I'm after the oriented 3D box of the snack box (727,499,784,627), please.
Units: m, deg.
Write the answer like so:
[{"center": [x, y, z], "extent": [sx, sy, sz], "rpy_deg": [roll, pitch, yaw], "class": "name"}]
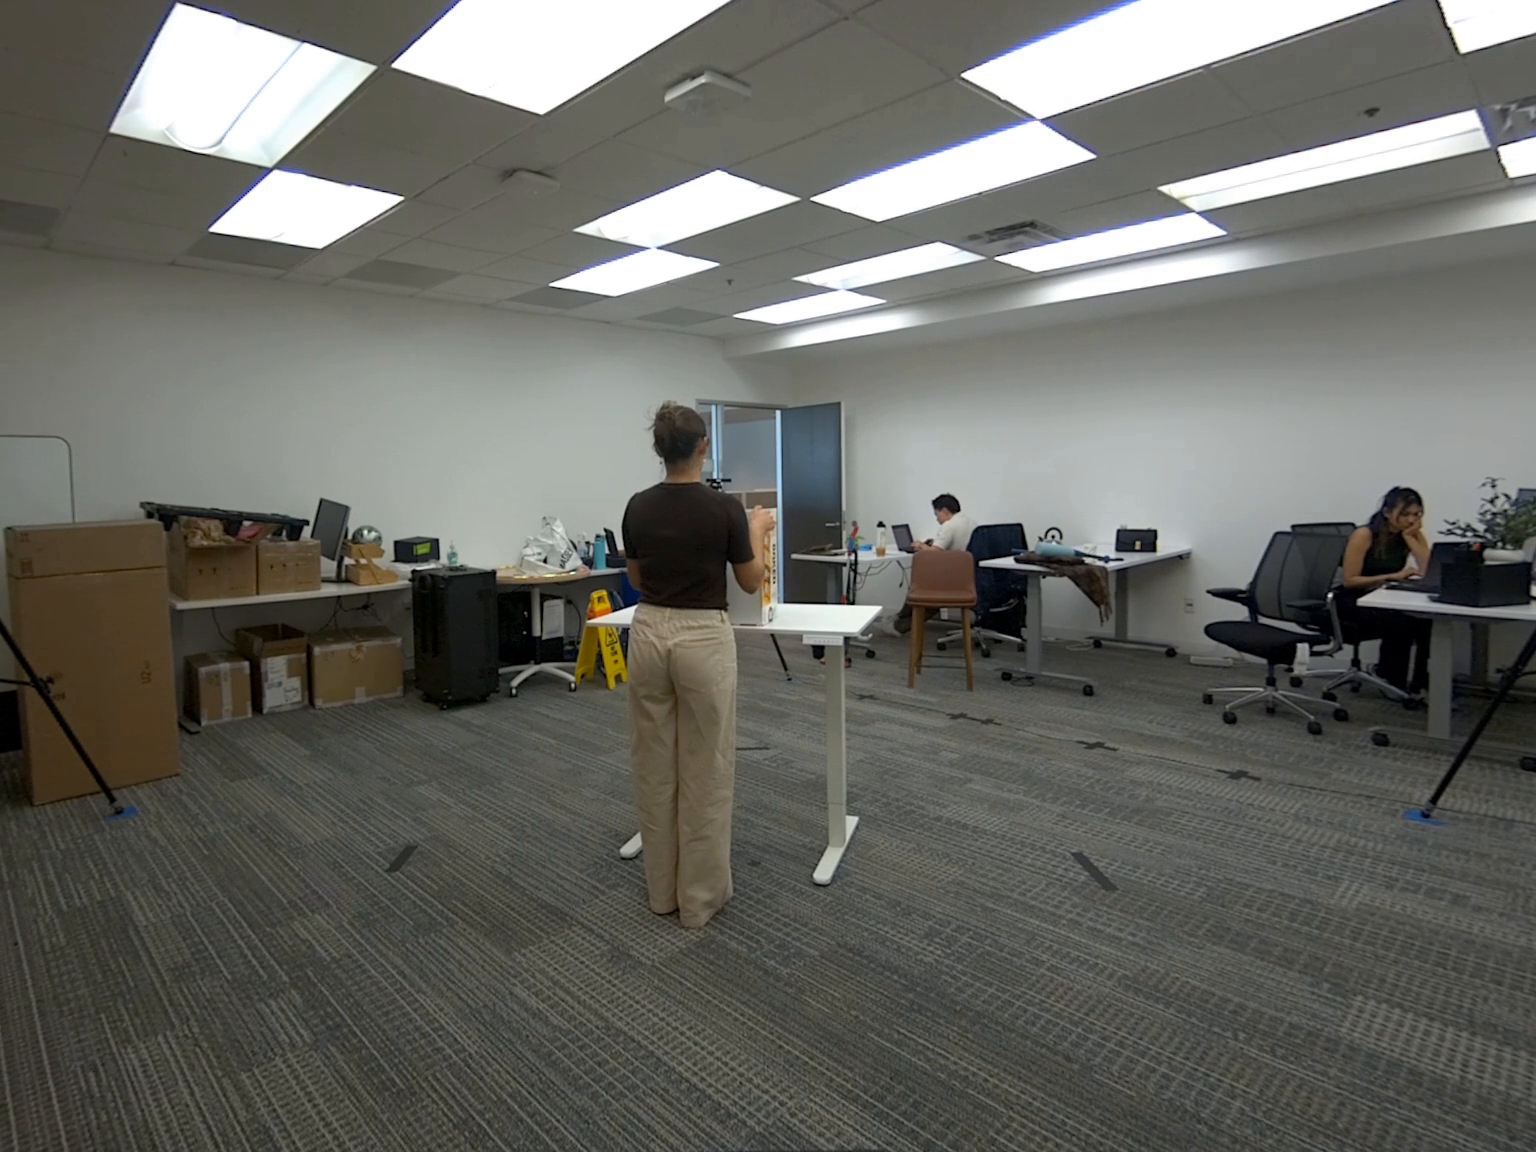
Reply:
[{"center": [-0.151, -0.039, 3.095], "extent": [0.346, 0.404, 0.203], "rpy_deg": [0, 4, 17], "class": "snack box"}]
